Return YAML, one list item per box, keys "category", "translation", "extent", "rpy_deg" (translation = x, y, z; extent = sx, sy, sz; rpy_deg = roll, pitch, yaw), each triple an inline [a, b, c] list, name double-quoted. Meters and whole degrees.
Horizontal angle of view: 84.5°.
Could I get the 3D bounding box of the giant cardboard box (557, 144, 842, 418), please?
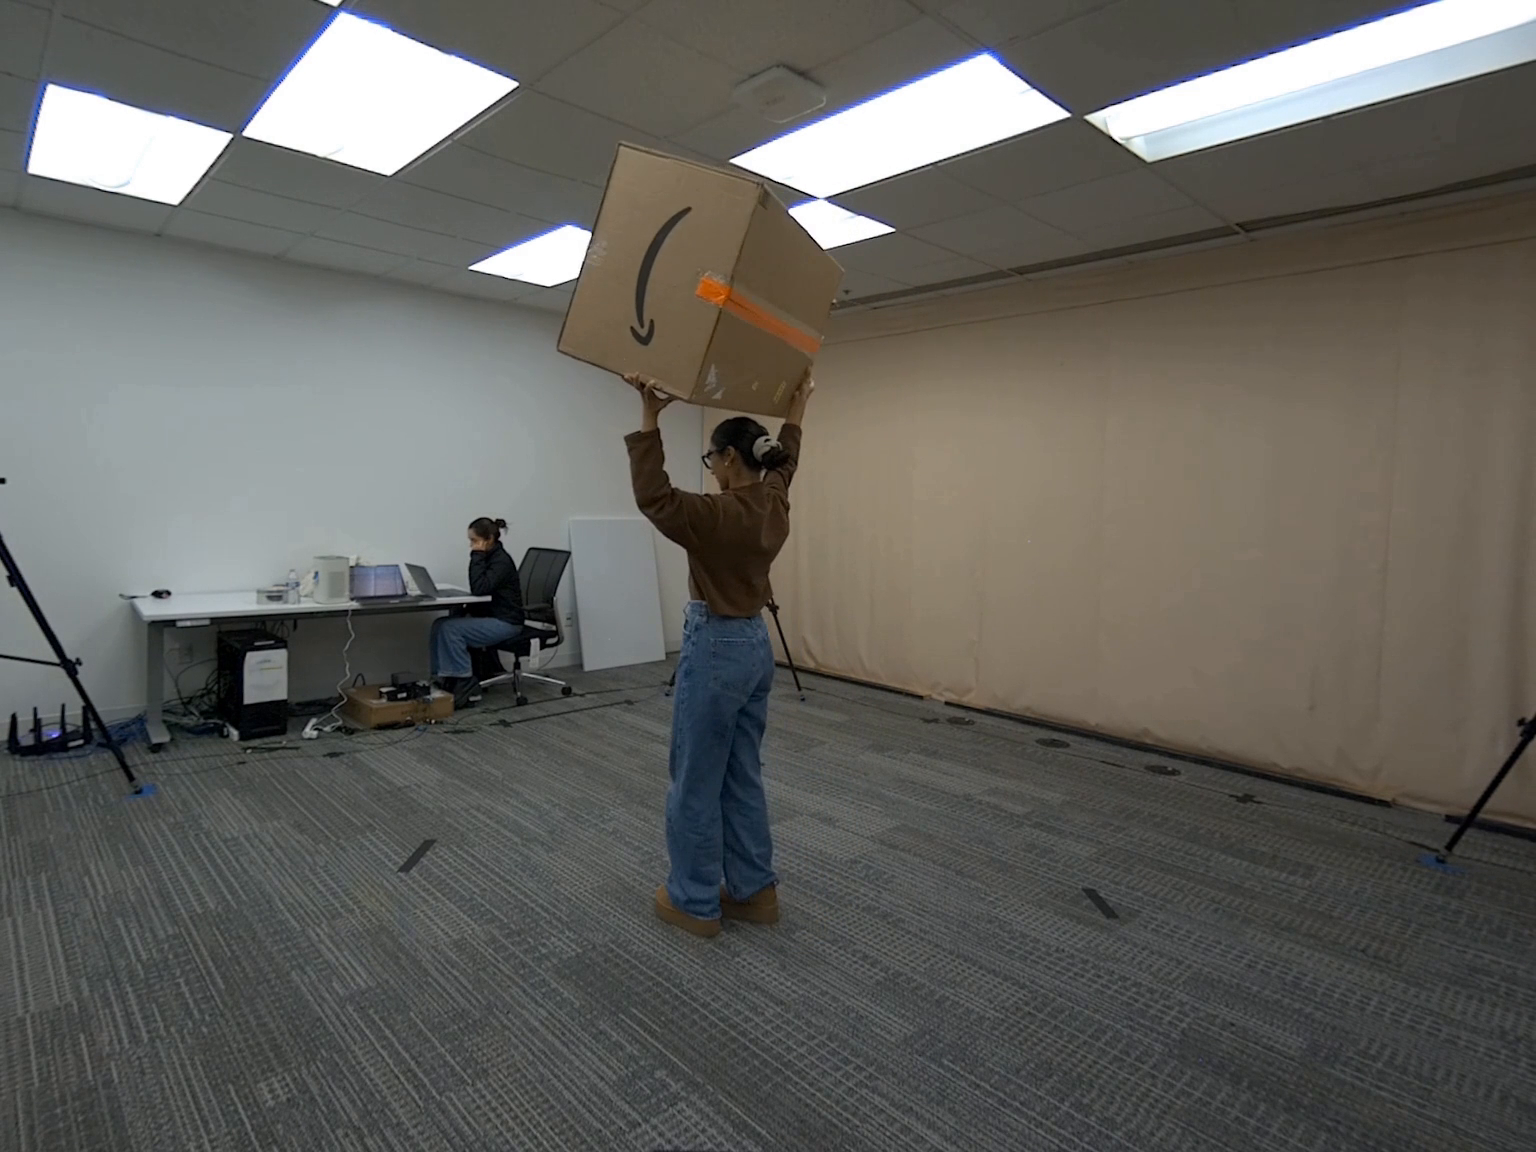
- category: "giant cardboard box"
  translation: [-0.157, -0.855, 2.670]
  extent: [0.432, 0.574, 1.016]
  rpy_deg: [24, 13, 13]
